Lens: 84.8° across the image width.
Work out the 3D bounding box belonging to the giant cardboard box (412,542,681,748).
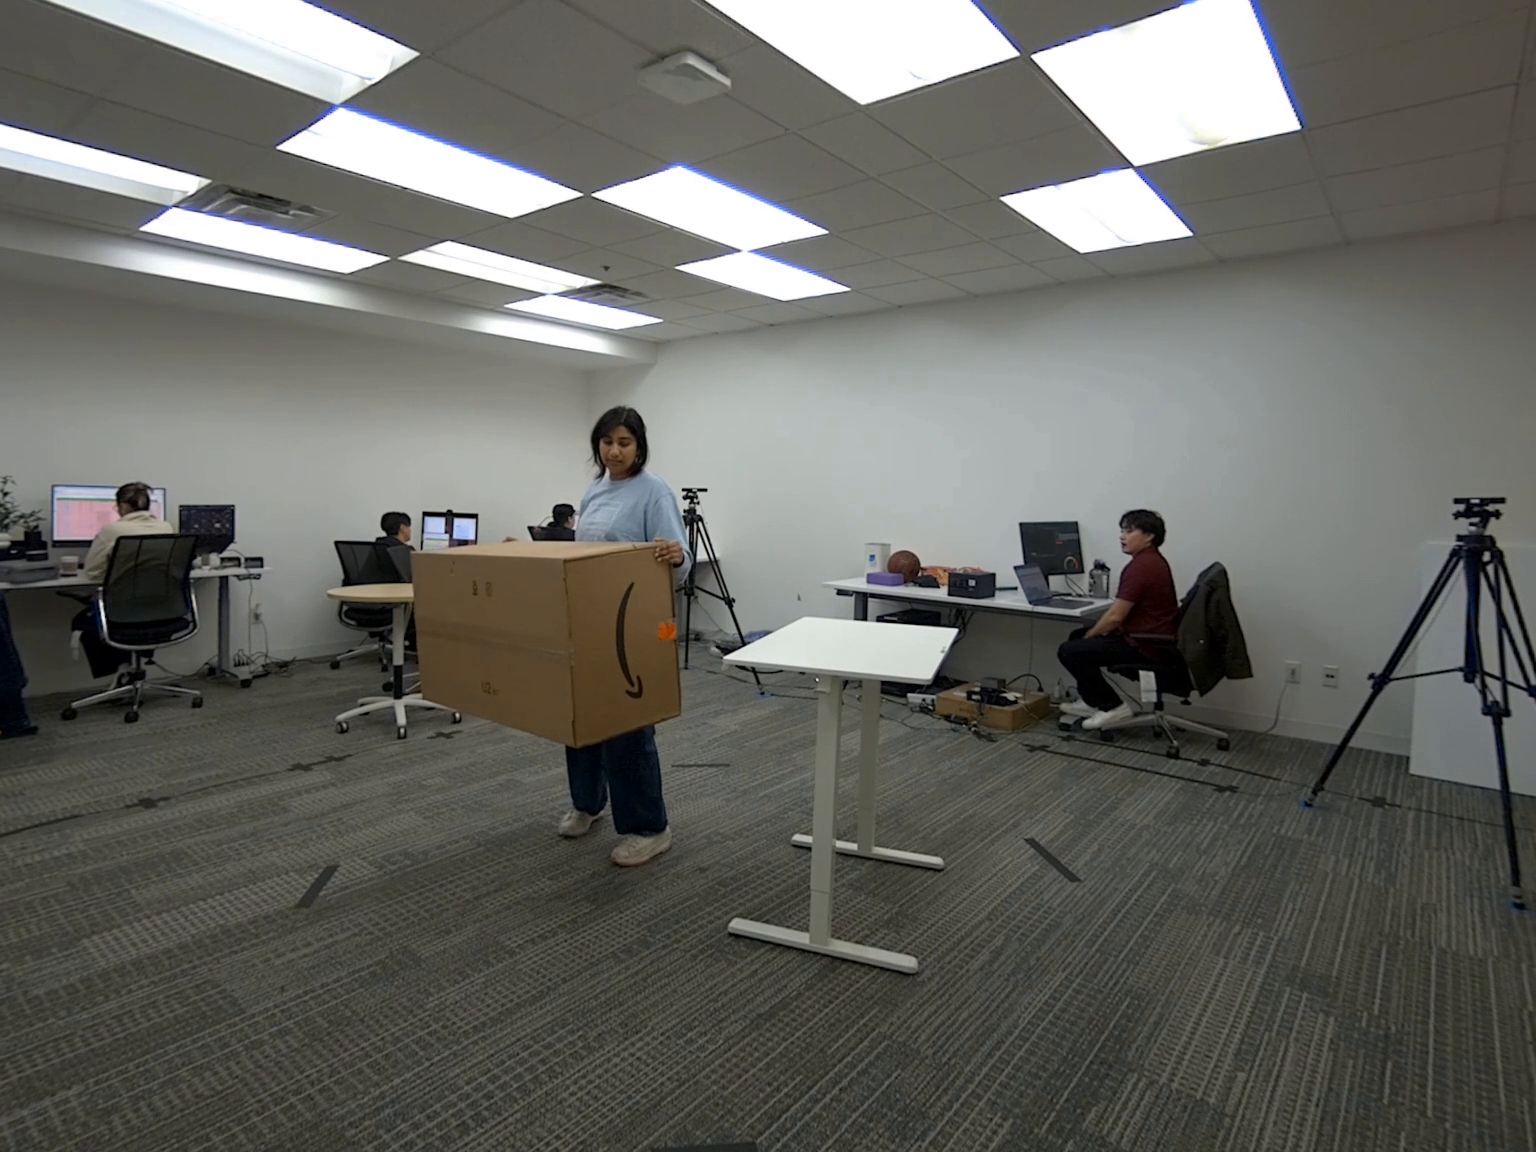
[{"bbox_3d":[-0.832,0.184,3.015,1.059,0.575,0.414,2,6,44],"label":"giant cardboard box"}]
